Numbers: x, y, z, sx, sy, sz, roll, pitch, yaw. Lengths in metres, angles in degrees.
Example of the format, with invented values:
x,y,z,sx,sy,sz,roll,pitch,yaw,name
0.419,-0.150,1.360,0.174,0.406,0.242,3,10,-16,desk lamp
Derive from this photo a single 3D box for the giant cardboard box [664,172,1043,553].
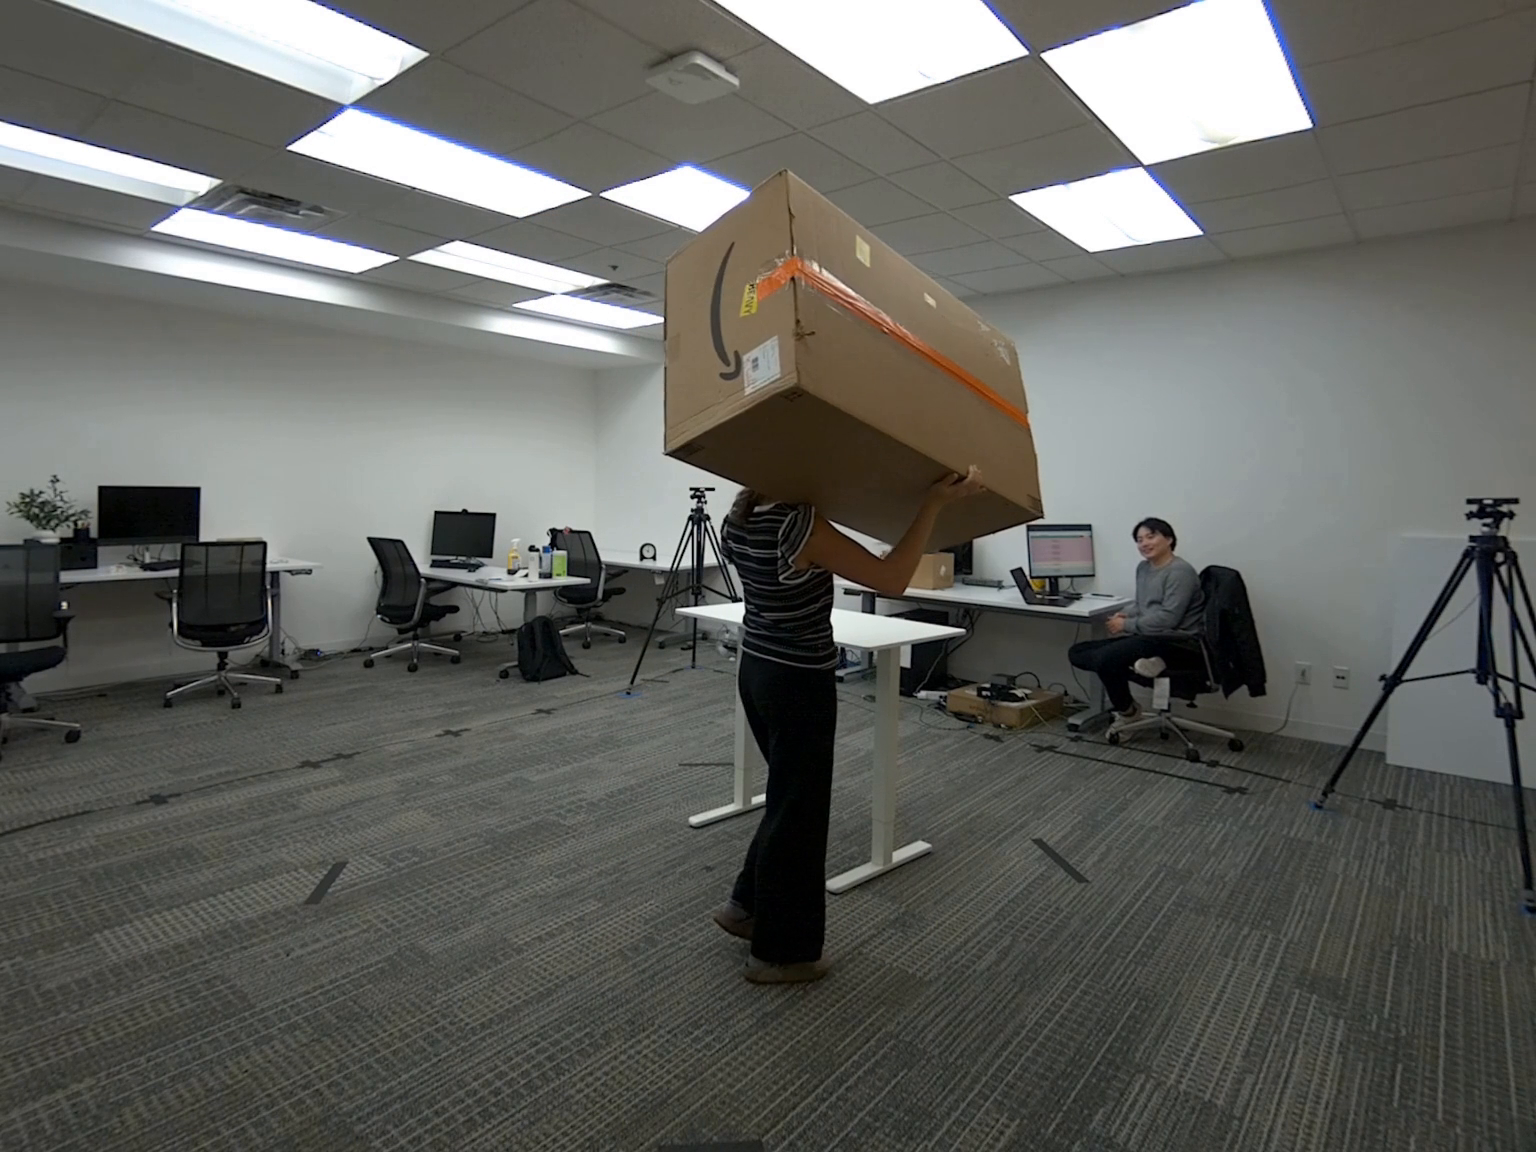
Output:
x,y,z,sx,sy,sz,roll,pitch,yaw,name
0.242,-0.486,2.277,0.987,0.589,0.434,18,-29,-41,giant cardboard box
